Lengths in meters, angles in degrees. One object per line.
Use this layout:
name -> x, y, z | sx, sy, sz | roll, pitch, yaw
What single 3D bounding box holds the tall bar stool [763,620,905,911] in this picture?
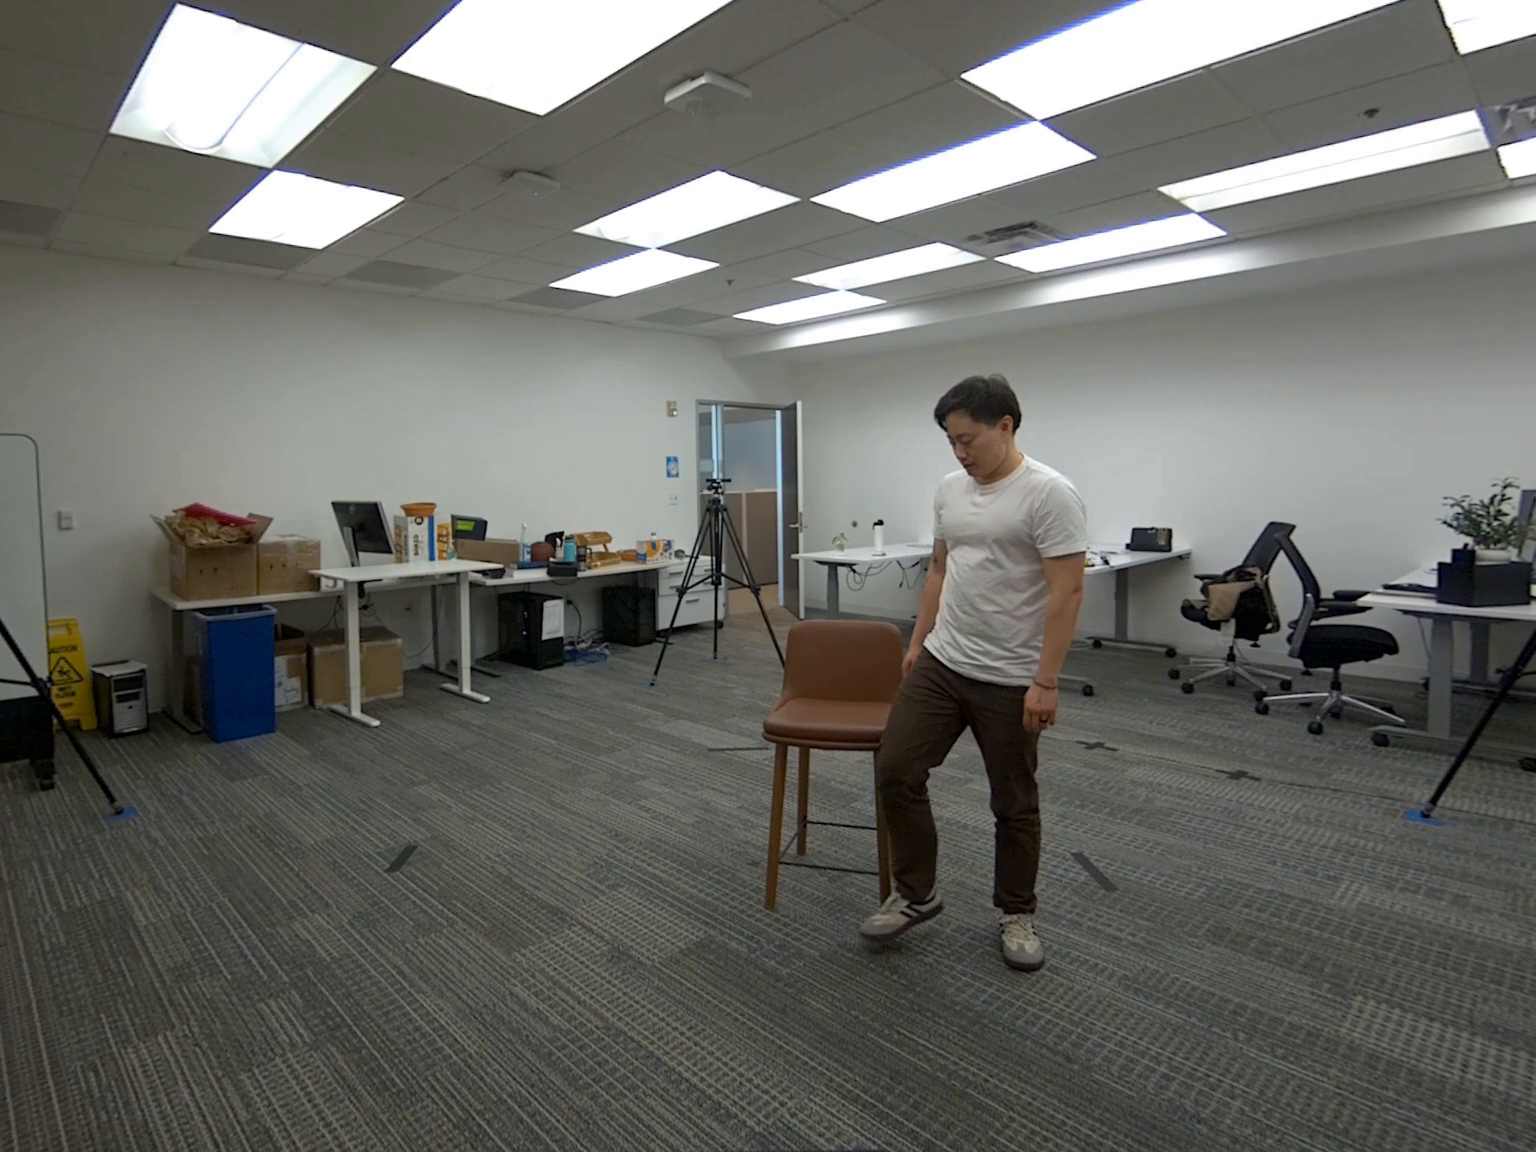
tall bar stool -> 0.241, 0.629, 2.905 | 0.464, 0.887, 0.461 | 1, 3, 17
